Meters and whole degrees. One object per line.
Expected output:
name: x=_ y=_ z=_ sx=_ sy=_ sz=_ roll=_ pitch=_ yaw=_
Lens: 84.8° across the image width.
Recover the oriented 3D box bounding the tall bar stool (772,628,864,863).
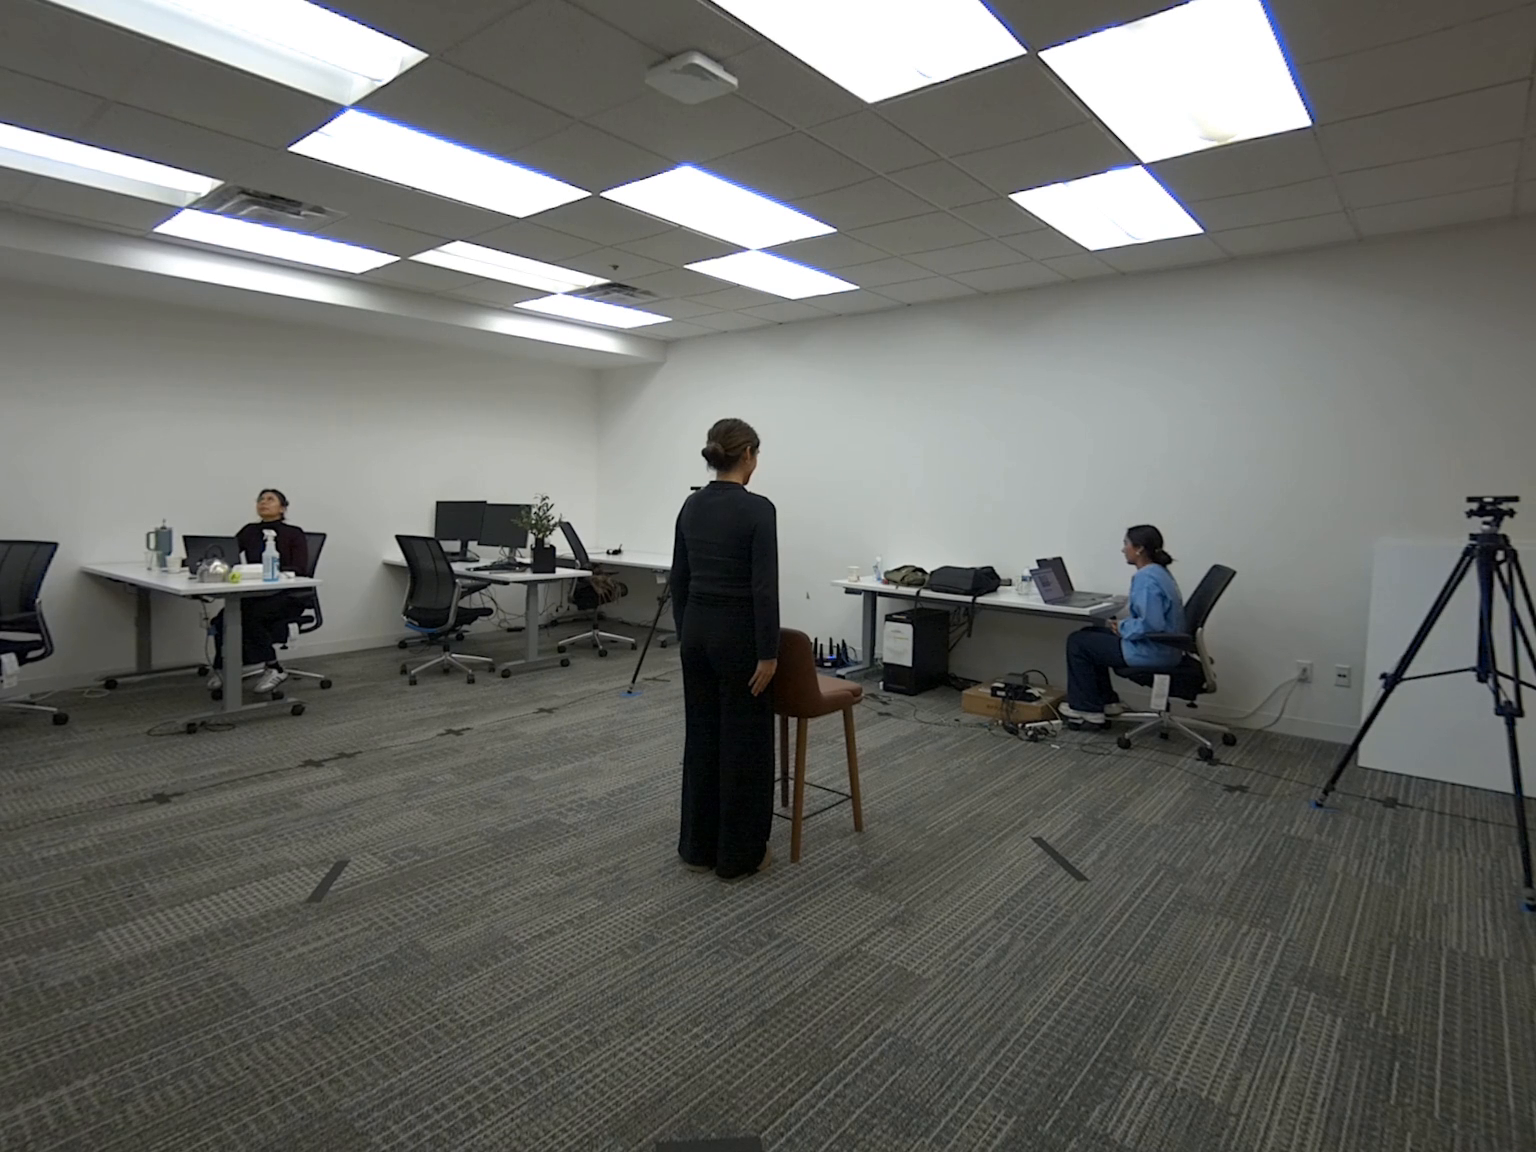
tall bar stool: x=0.088 y=0.598 z=3.420 sx=0.472 sy=0.885 sz=0.454 roll=4 pitch=7 yaw=40
